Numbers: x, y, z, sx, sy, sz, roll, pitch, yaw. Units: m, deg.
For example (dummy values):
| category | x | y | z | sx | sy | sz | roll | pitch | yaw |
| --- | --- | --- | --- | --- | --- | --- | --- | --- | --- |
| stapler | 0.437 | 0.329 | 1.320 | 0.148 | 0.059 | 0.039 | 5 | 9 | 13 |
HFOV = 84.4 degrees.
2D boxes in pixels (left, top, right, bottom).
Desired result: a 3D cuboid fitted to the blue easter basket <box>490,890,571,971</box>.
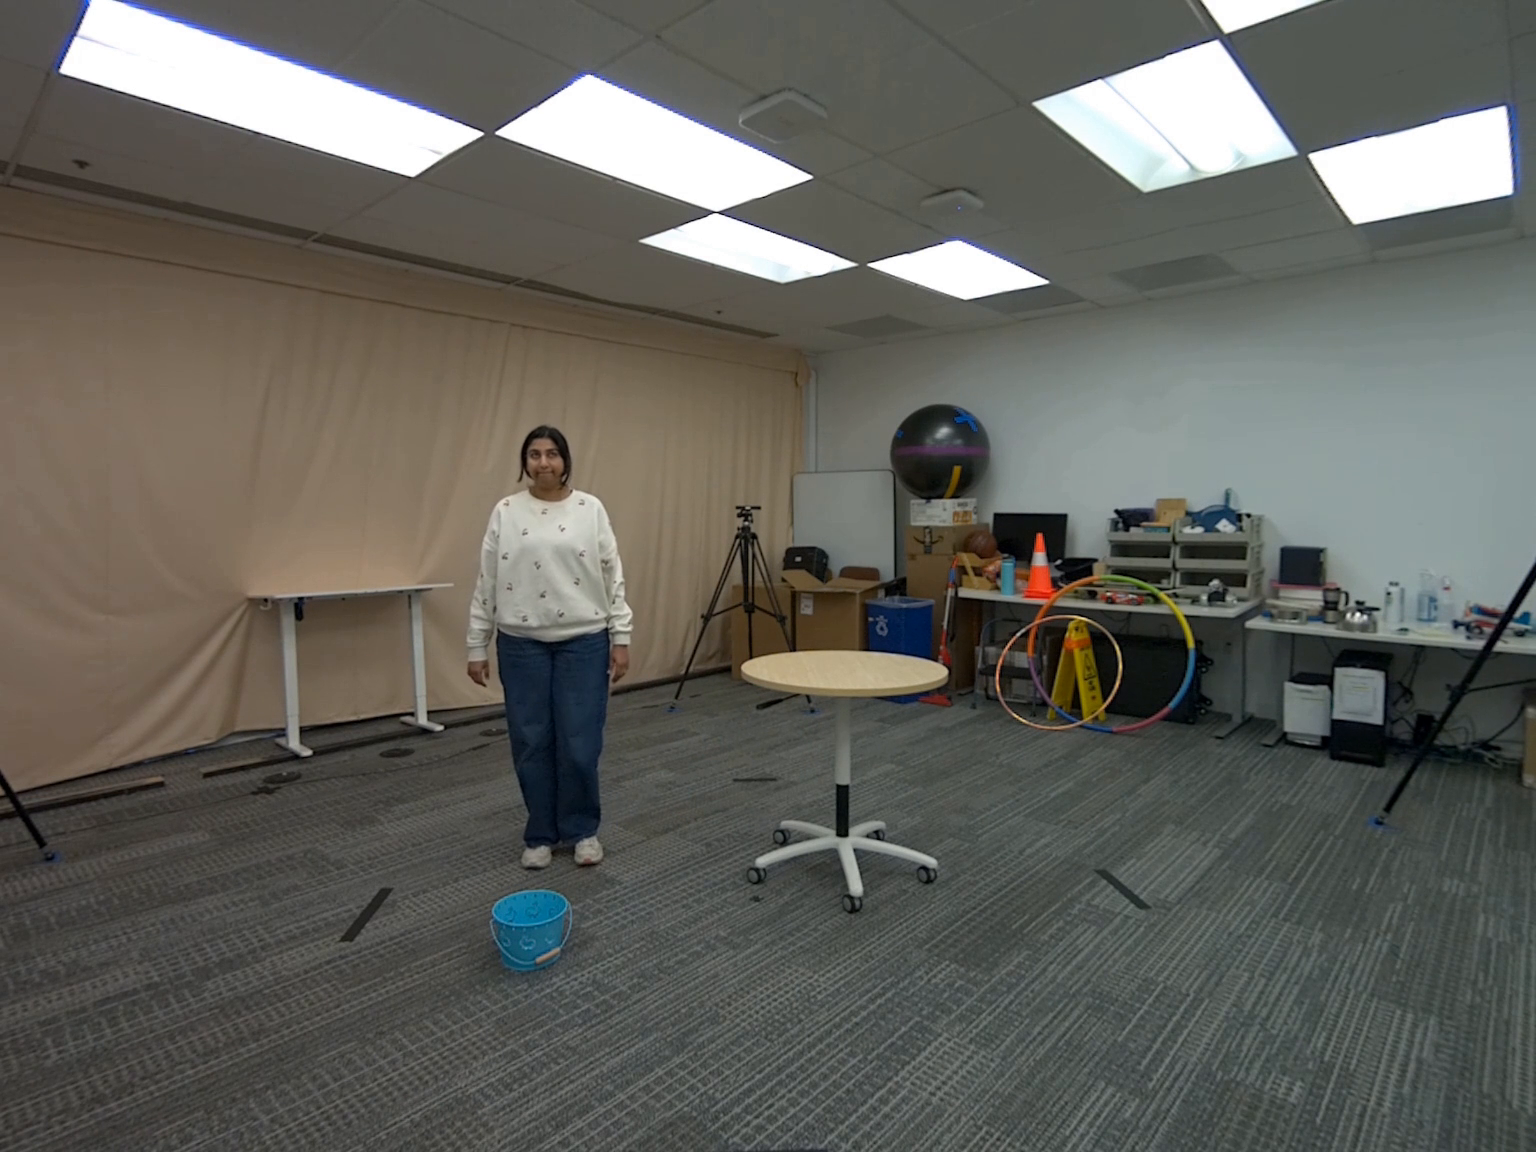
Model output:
| category | x | y | z | sx | sy | sz | roll | pitch | yaw |
| --- | --- | --- | --- | --- | --- | --- | --- | --- | --- |
| blue easter basket | -0.740 | 1.104 | 2.612 | 0.243 | 0.155 | 0.244 | 1 | 4 | -2 |
